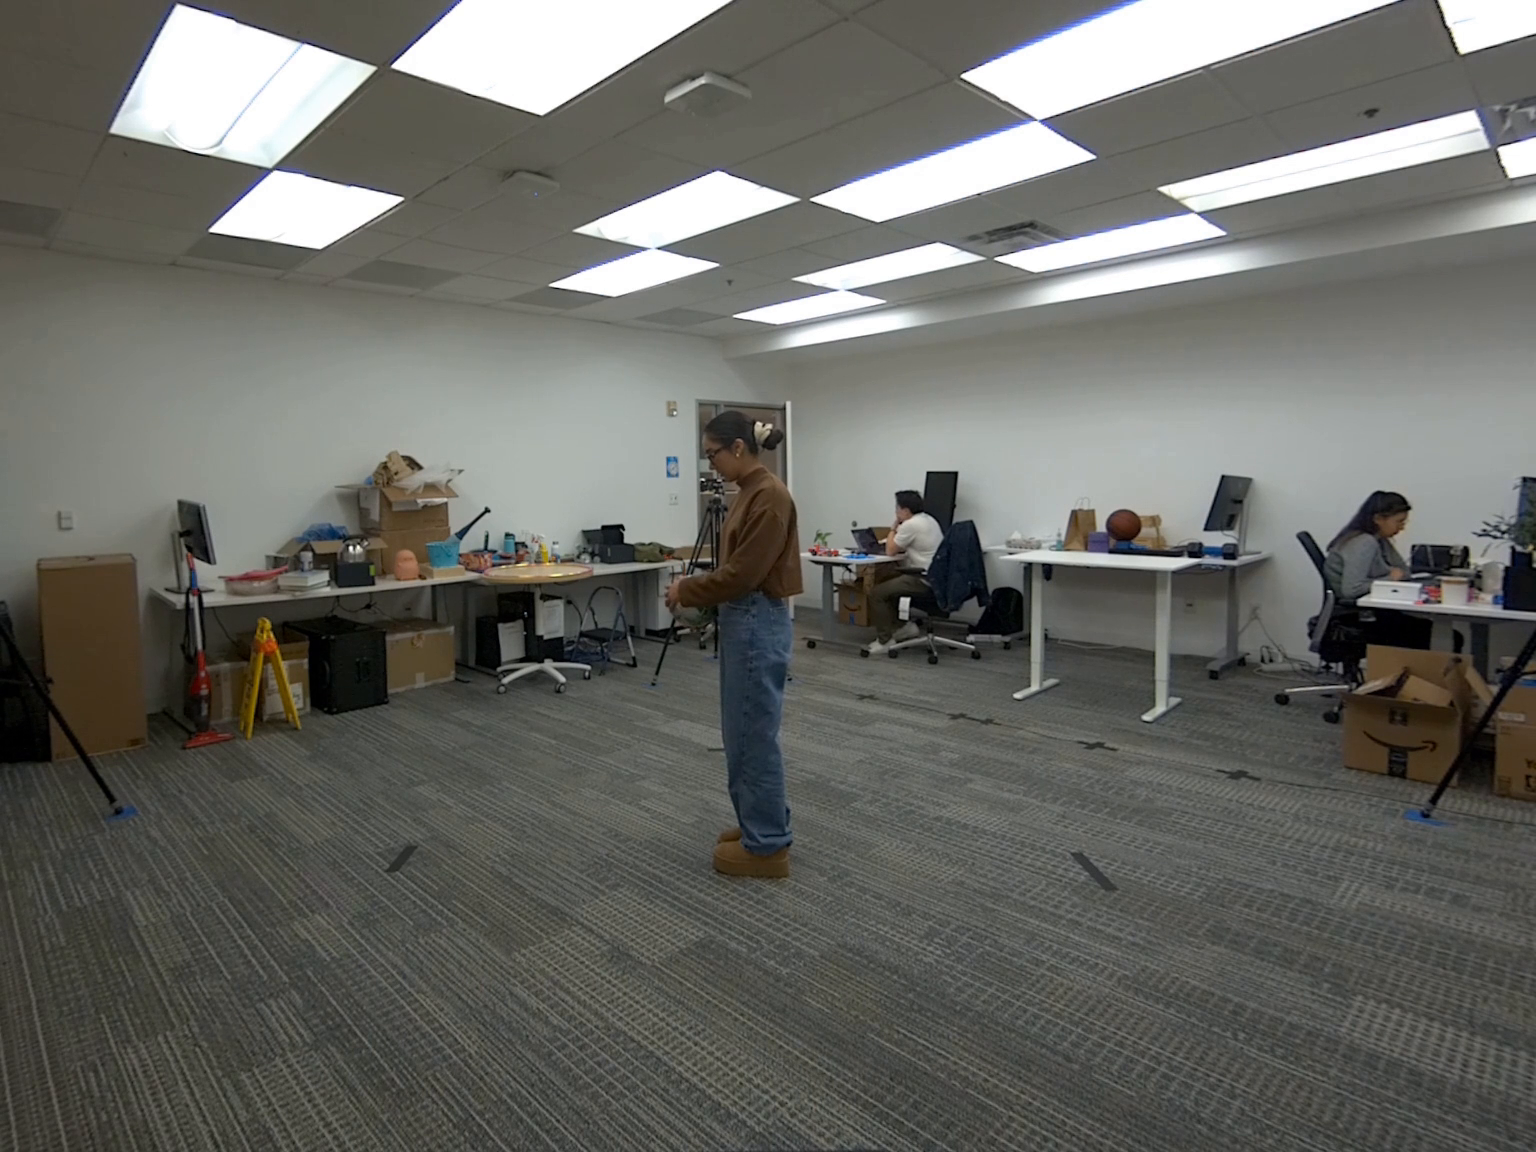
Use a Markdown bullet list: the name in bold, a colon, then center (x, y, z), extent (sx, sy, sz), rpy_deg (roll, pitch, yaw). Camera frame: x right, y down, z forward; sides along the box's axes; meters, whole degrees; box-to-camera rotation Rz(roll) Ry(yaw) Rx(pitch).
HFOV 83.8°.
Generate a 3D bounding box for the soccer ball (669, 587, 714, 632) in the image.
- **soccer ball**: center (-0.258, 0.090, 3.095), extent (0.187, 0.187, 0.188), rpy_deg (-1, 5, -2)
